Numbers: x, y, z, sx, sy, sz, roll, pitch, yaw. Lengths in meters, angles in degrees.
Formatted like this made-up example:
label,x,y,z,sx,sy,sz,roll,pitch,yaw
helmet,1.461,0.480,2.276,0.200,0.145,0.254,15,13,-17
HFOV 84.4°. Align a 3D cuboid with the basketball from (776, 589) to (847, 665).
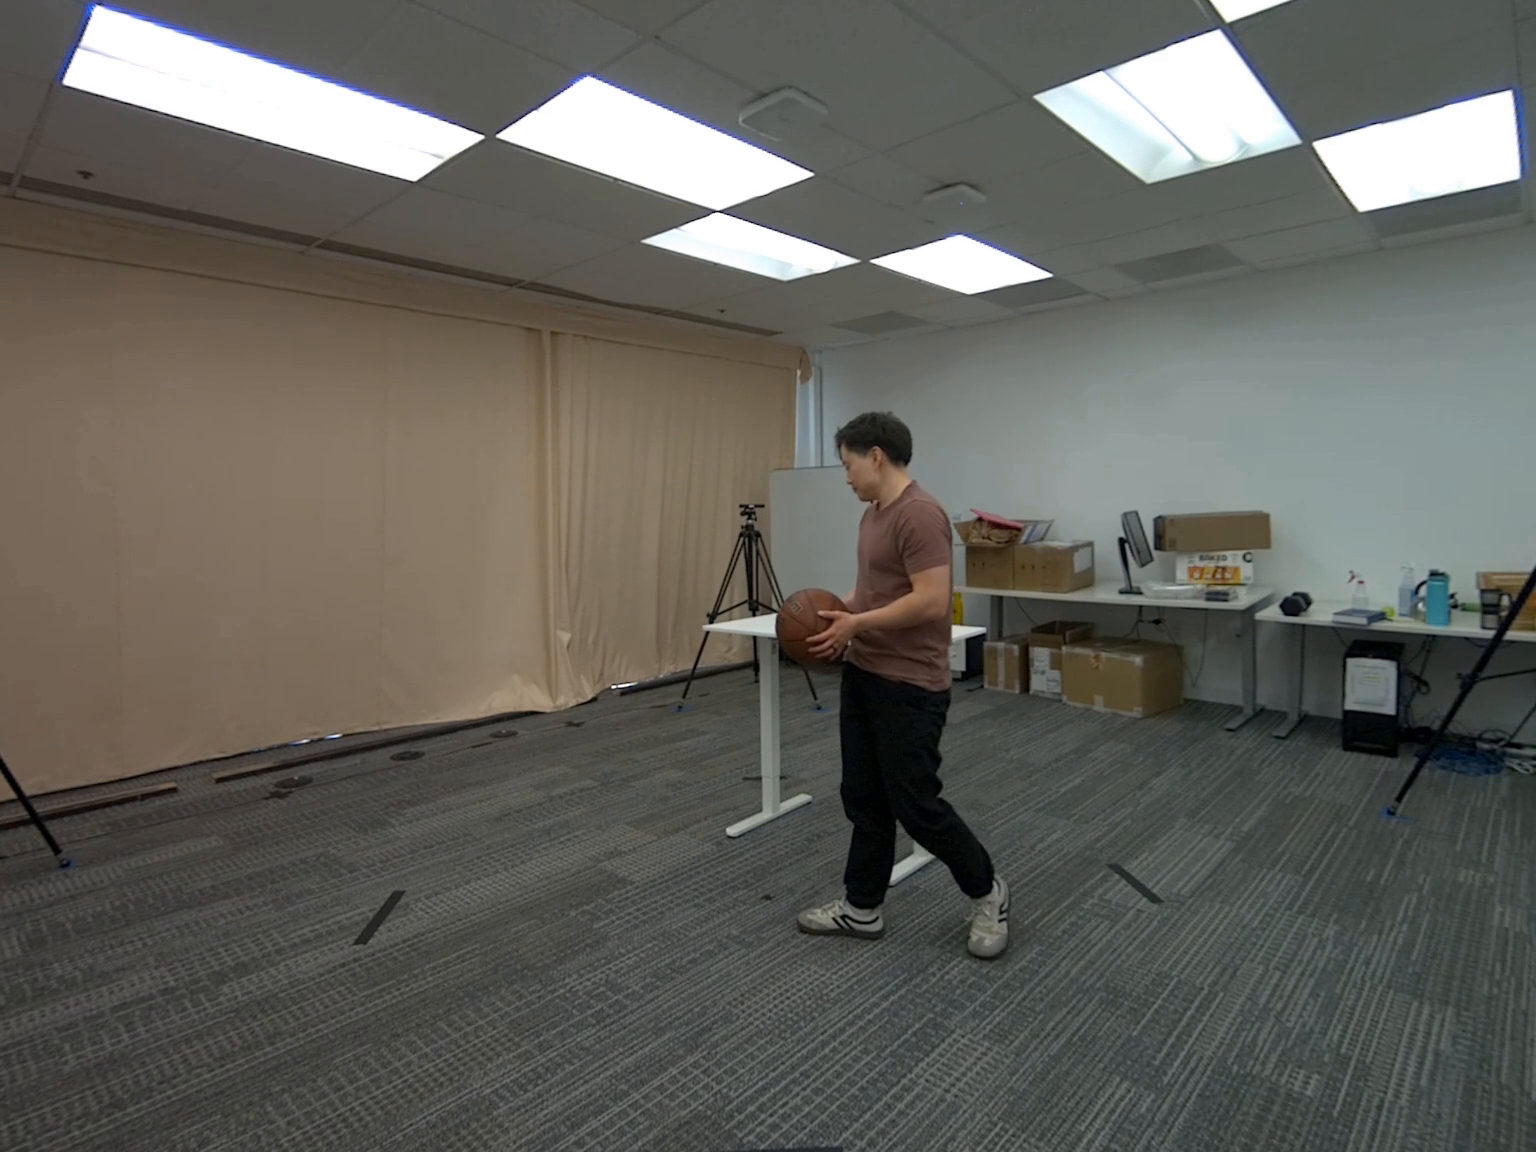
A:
label,x,y,z,sx,sy,sz,roll,pitch,yaw
basketball,0.151,0.159,2.605,0.236,0.235,0.237,-1,4,-2
